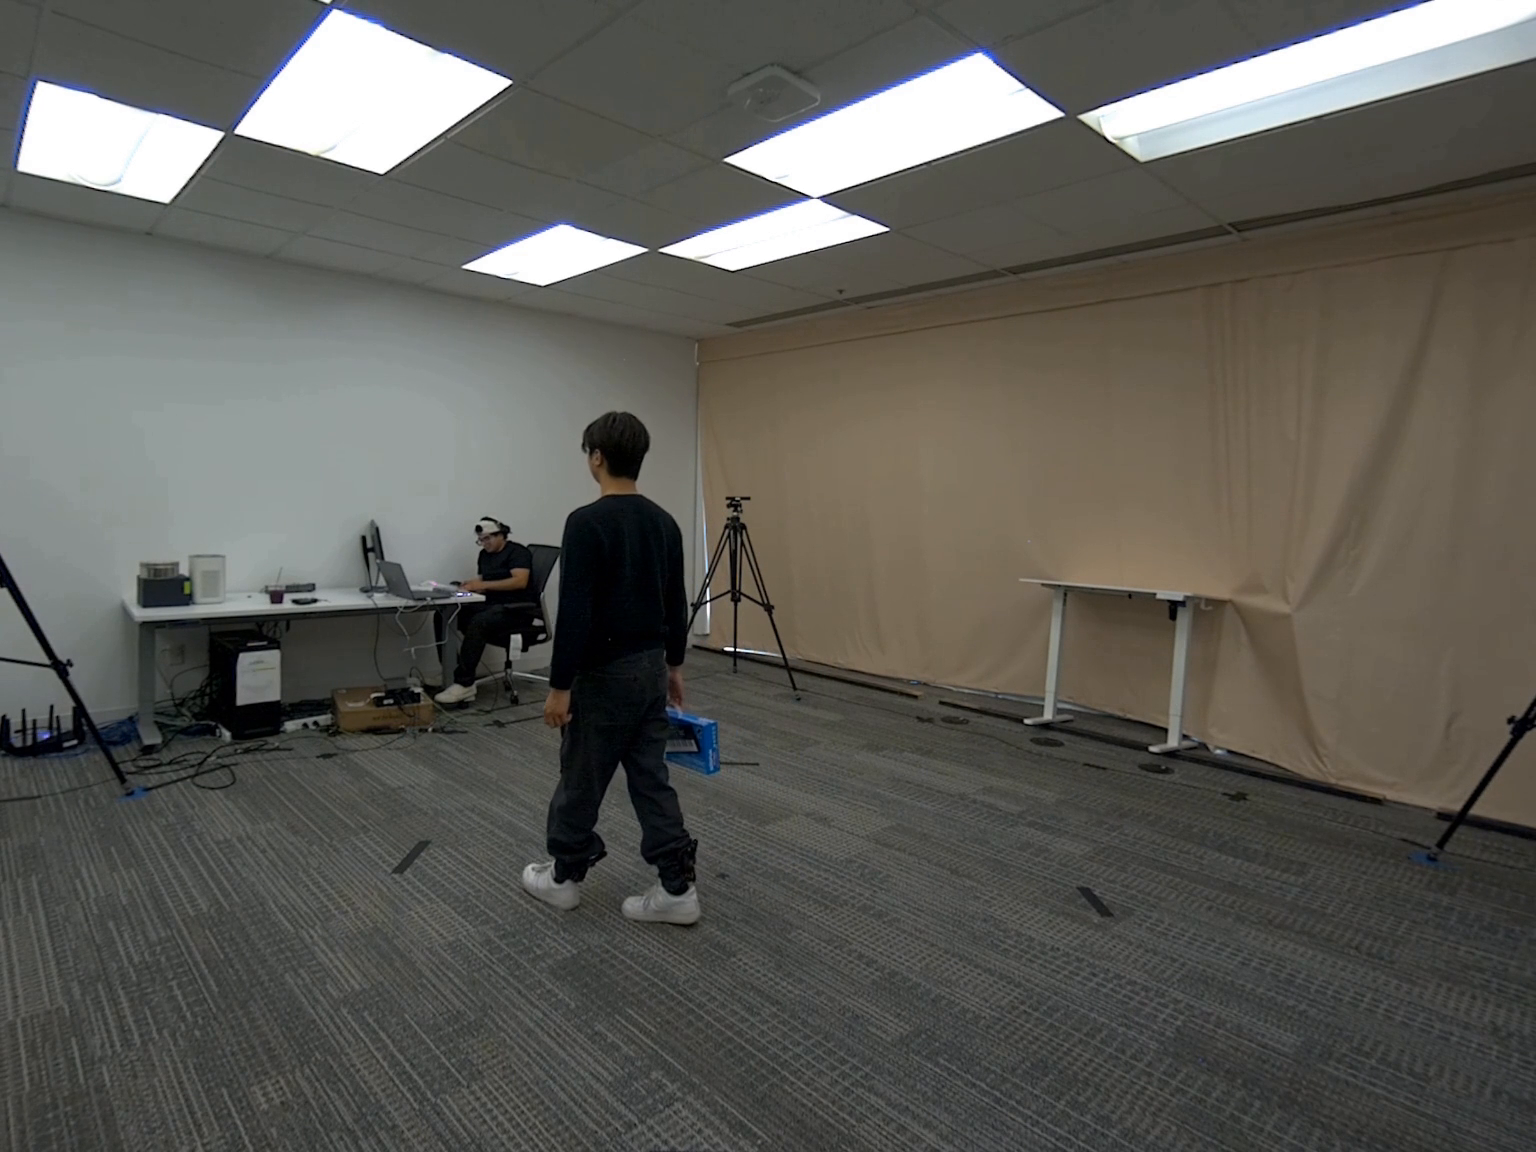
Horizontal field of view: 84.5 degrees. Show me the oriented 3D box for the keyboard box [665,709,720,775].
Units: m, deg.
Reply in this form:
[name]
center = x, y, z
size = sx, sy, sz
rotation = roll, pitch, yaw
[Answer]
[keyboard box]
center = -0.344, 0.573, 3.005
size = 0.058, 0.175, 0.447
rotation = -6, 6, -40
